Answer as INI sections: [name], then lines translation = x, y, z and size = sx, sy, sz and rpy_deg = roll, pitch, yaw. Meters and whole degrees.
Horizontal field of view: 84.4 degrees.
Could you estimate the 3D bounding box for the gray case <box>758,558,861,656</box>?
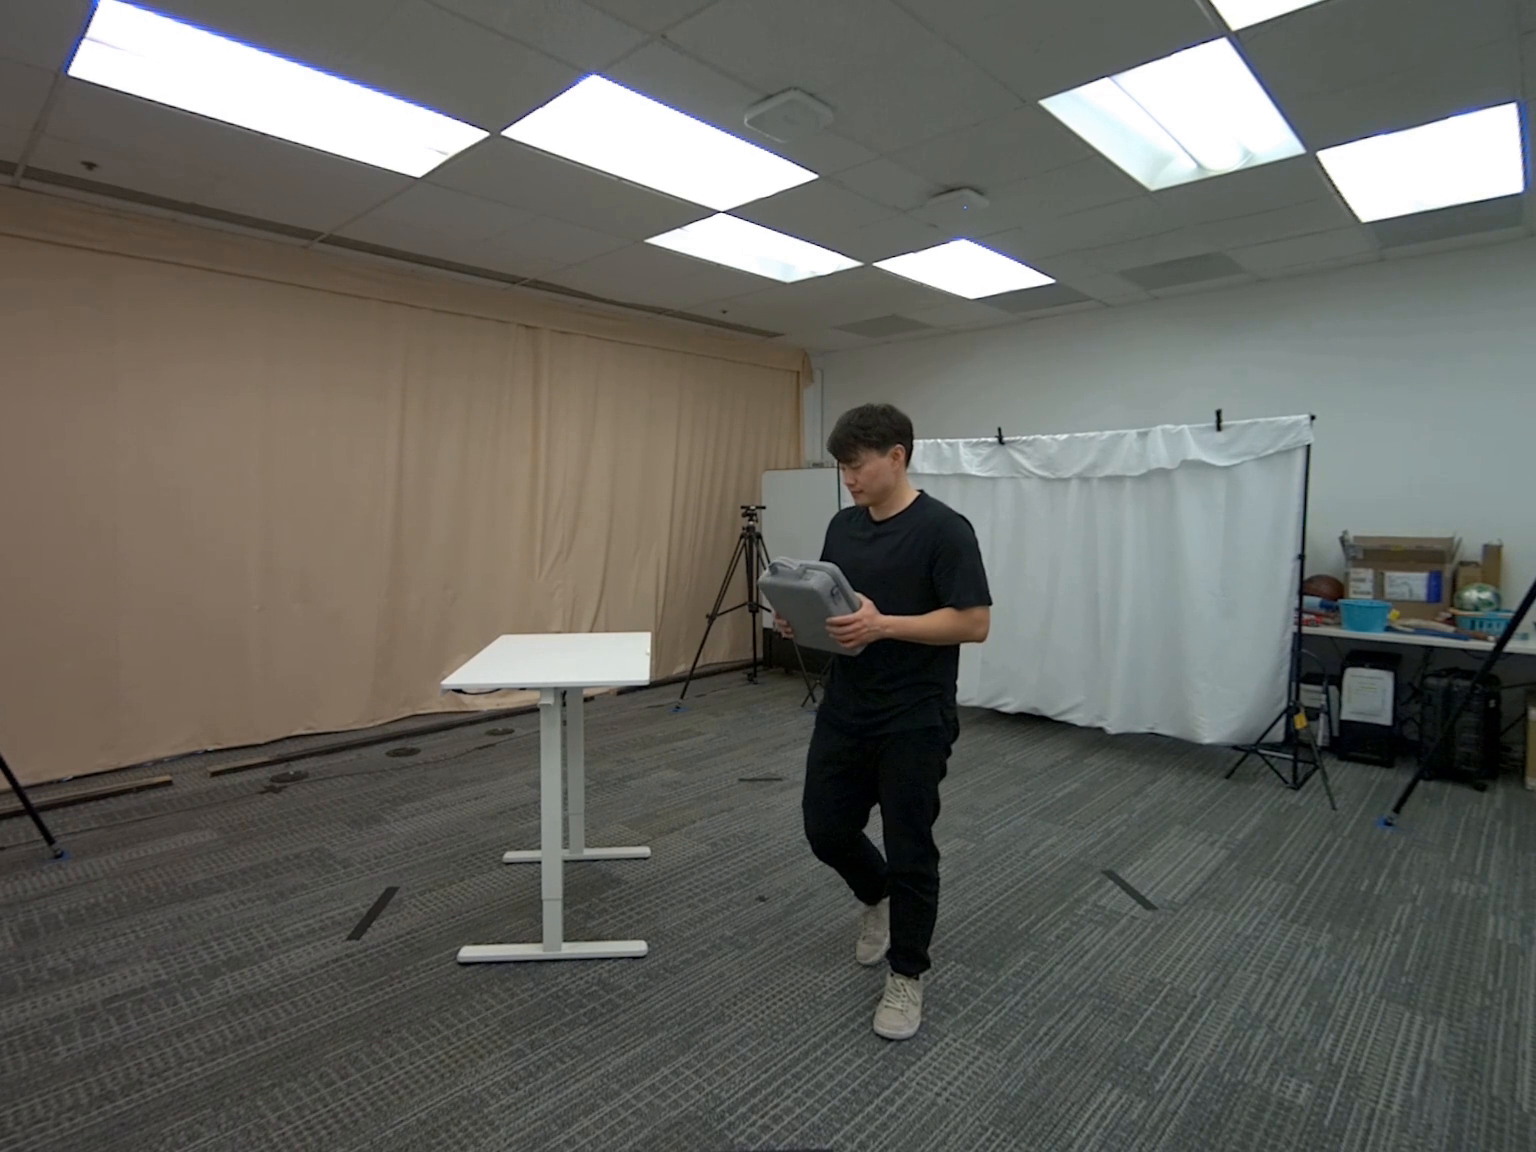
[gray case]
translation = 0.121, 0.075, 2.213
size = 0.103, 0.254, 0.265
rpy_deg = -47, 27, -25
